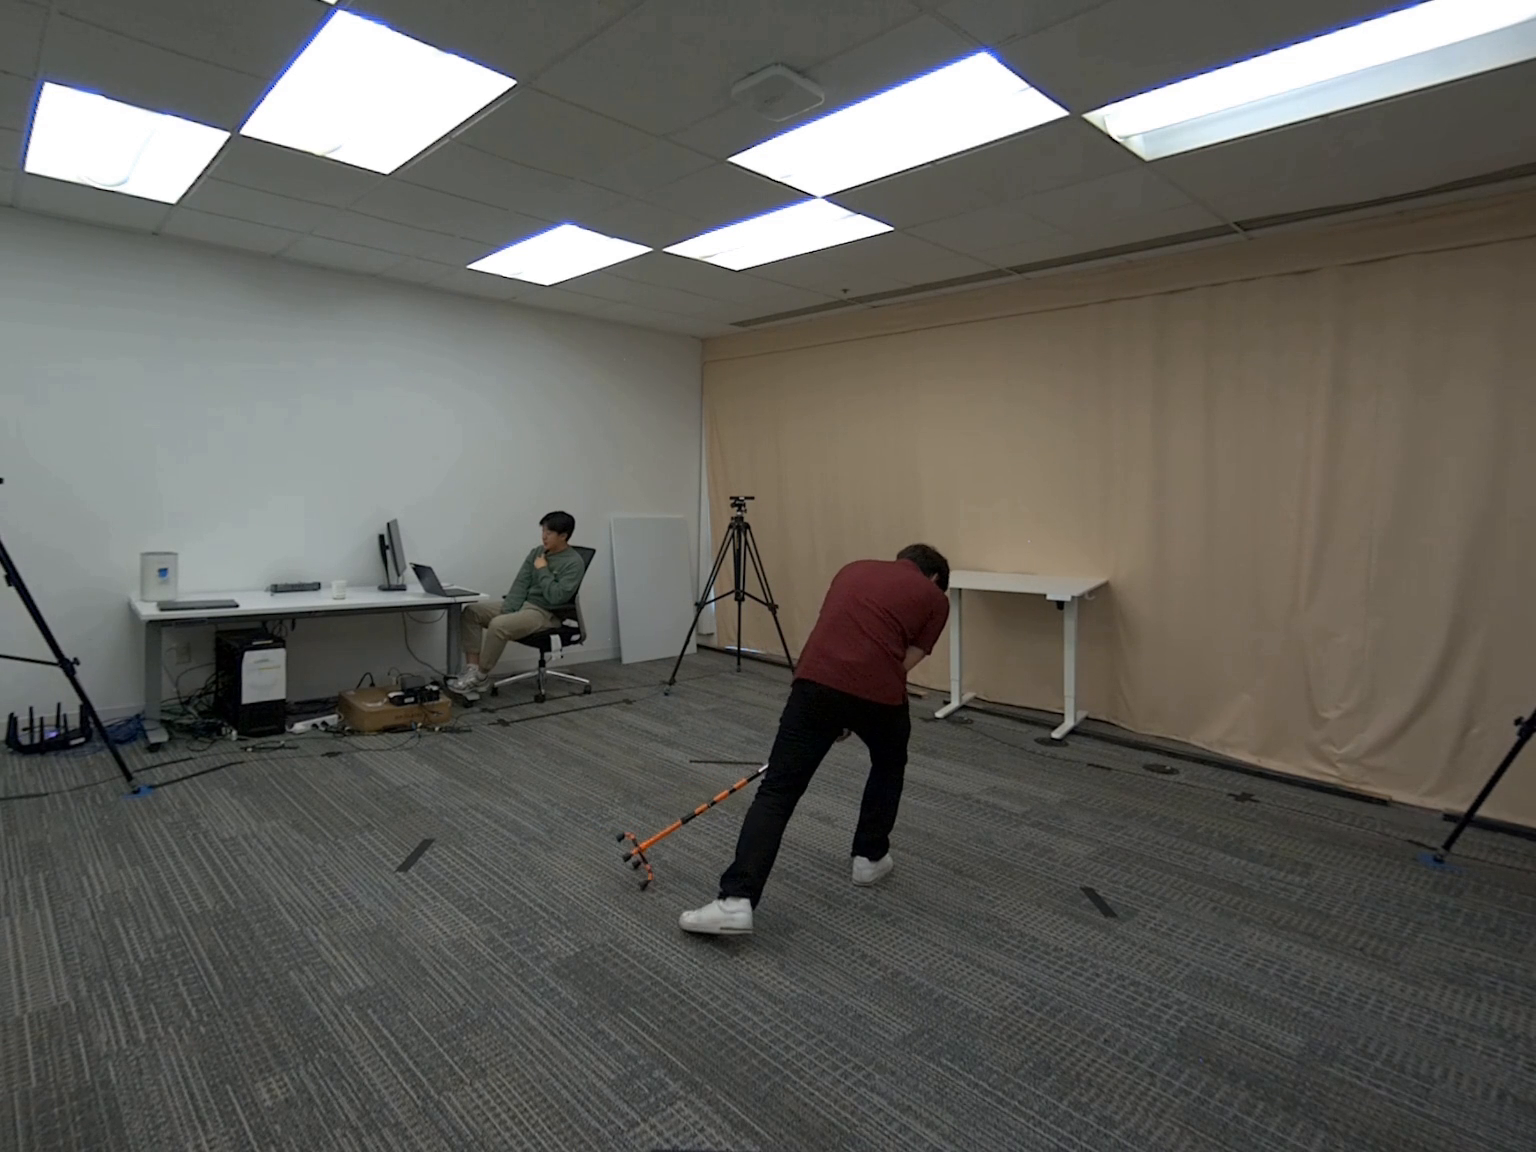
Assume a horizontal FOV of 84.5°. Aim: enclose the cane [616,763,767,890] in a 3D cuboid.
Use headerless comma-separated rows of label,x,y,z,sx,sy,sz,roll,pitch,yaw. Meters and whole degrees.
cane,-0.134,0.802,3.127,0.905,0.150,0.209,-31,9,-11
